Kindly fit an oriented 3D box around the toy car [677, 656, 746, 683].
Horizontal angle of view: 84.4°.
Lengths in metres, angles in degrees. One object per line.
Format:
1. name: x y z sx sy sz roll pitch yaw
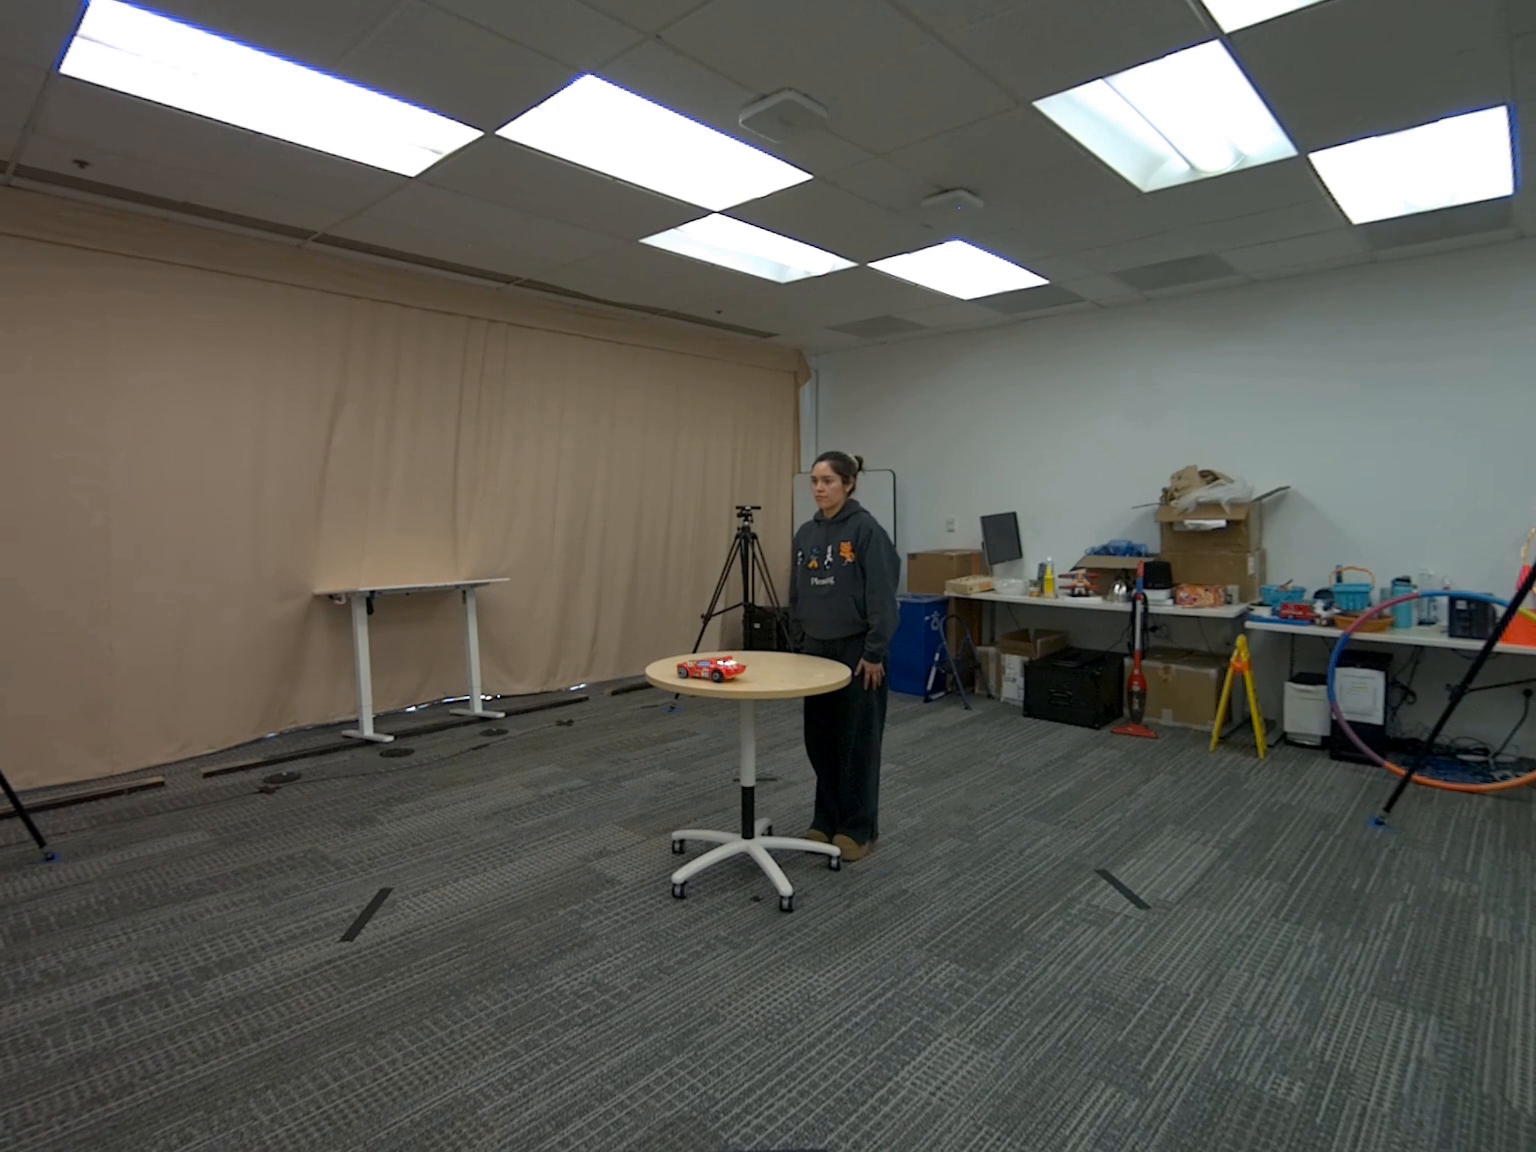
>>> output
1. toy car: -0.176 0.333 2.962 0.261 0.083 0.127 -11 -2 31
